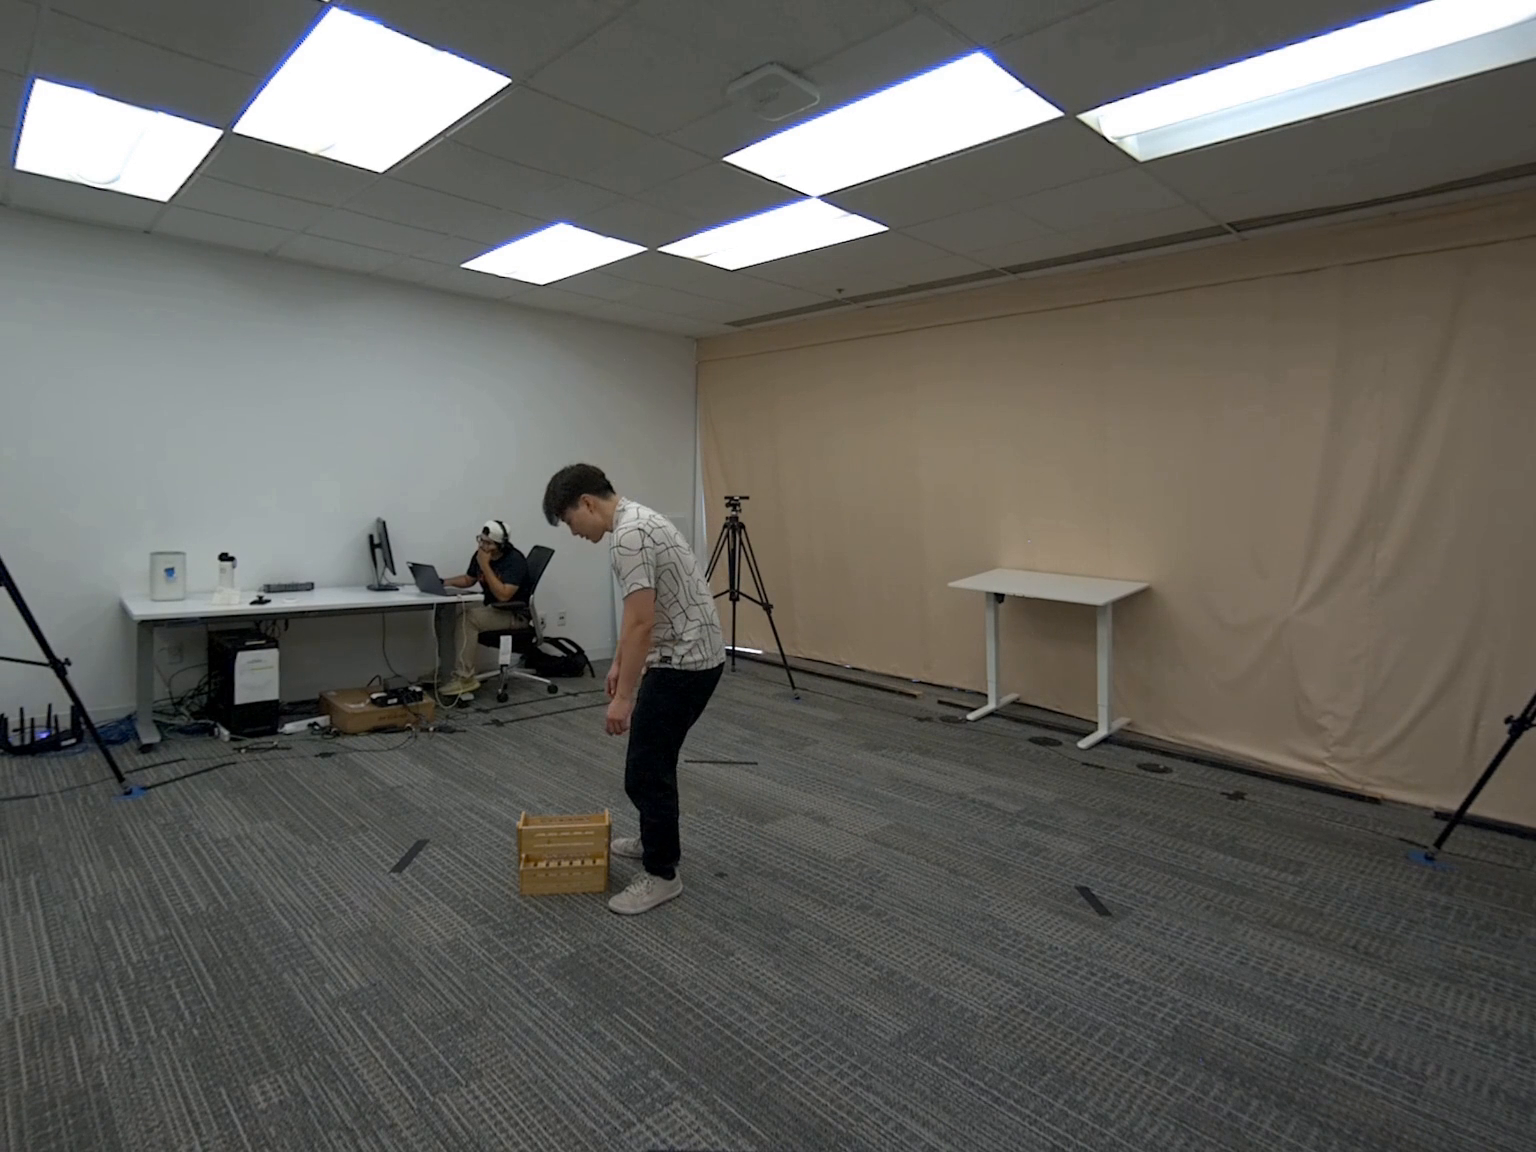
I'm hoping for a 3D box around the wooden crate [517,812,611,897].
[{"bbox_3d":[-0.740,0.962,3.028,0.322,0.272,0.306,0,5,-11],"label":"wooden crate"}]
